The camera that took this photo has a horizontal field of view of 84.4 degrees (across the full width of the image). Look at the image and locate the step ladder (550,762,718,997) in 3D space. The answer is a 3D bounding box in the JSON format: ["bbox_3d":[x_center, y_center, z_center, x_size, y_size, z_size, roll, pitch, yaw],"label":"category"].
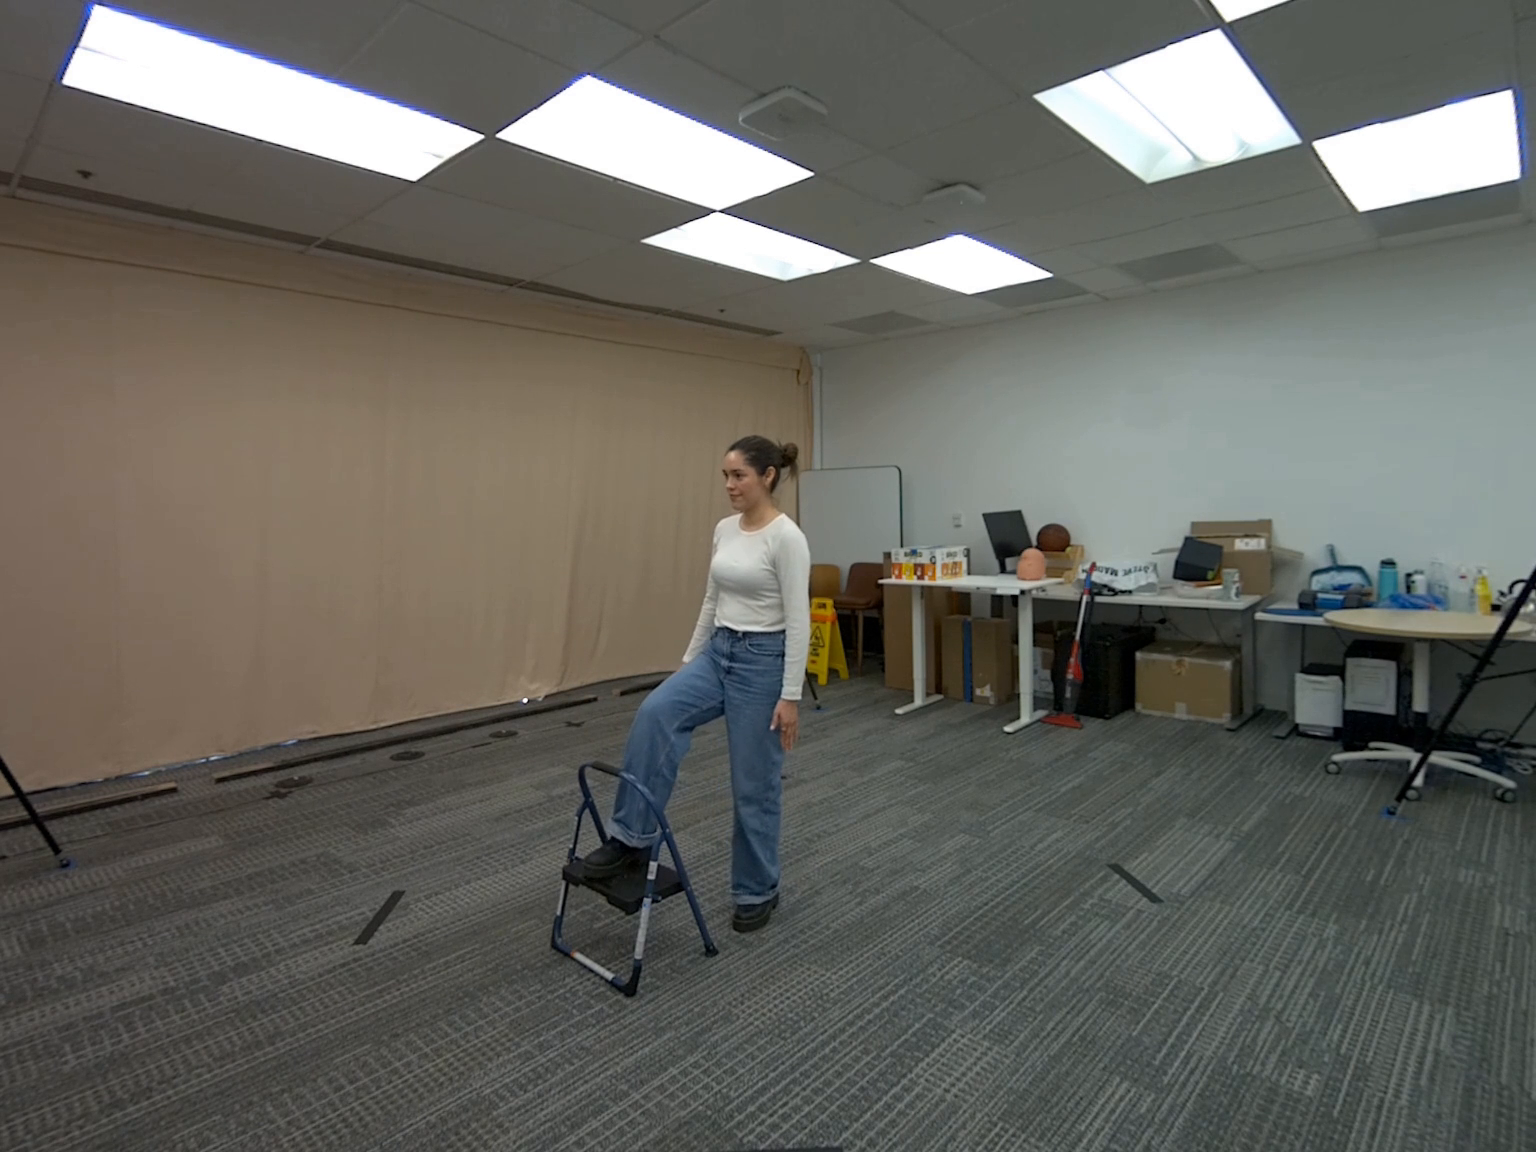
[{"bbox_3d":[-0.429,0.878,2.634,0.445,0.605,0.339,1,4,43],"label":"step ladder"}]
